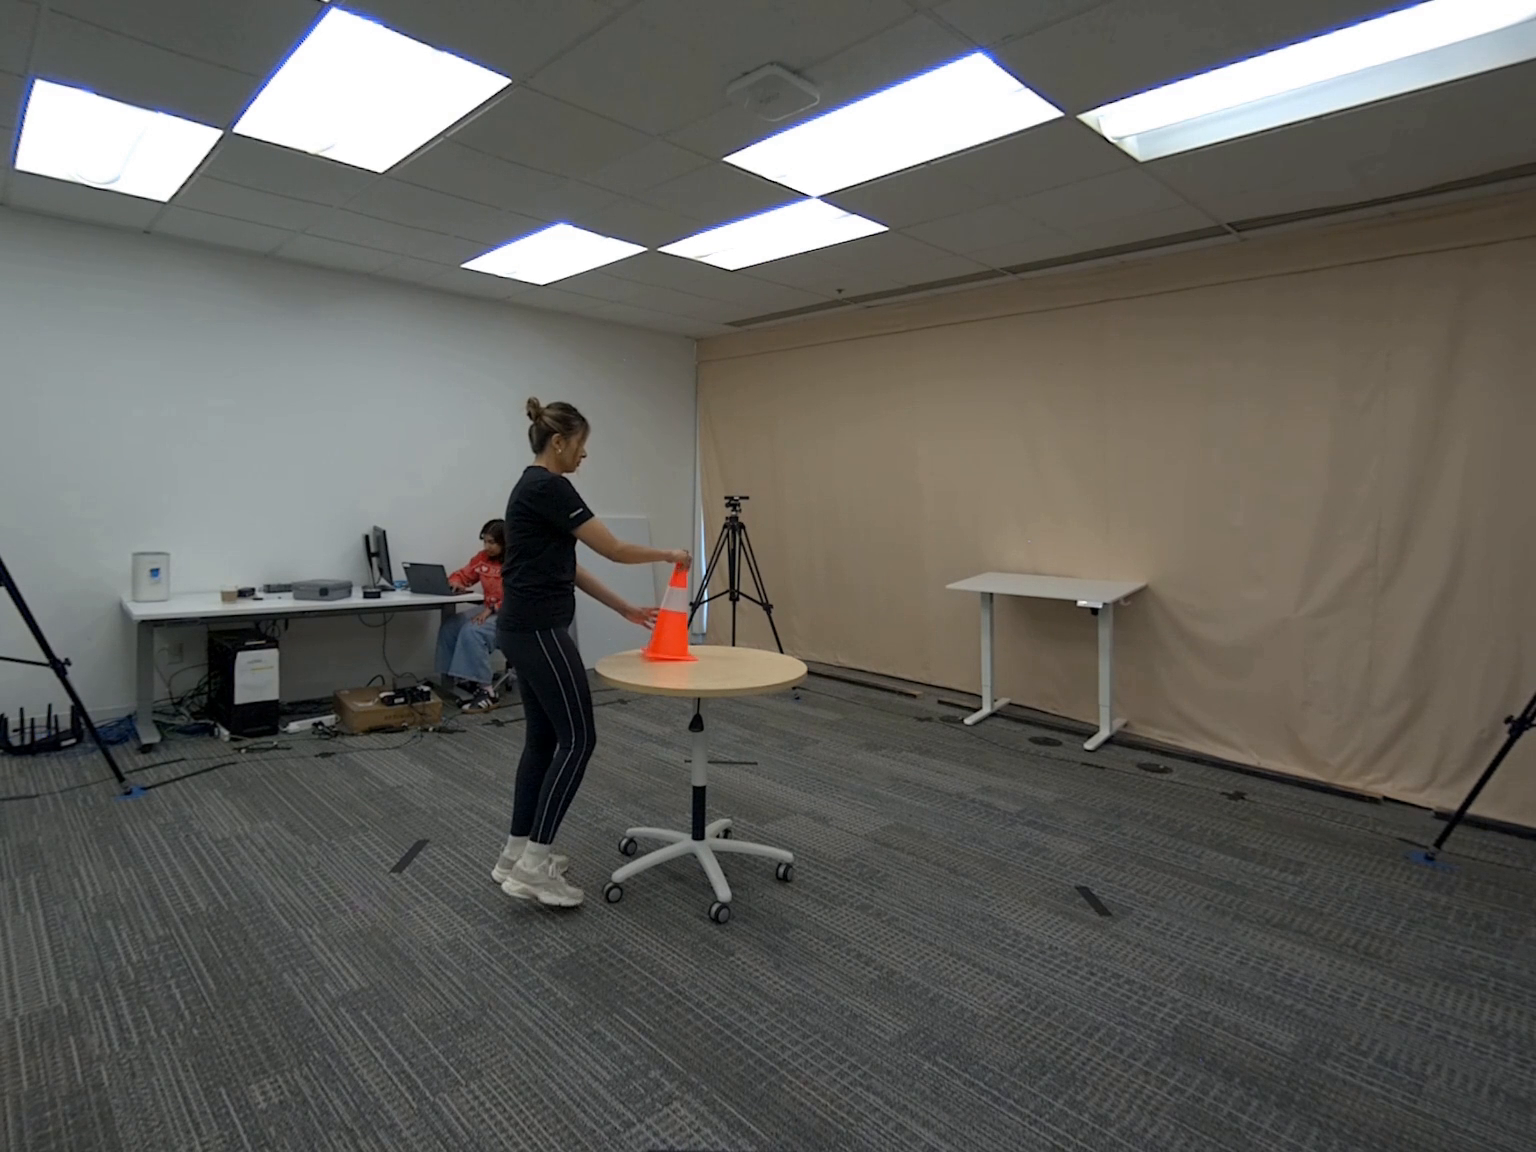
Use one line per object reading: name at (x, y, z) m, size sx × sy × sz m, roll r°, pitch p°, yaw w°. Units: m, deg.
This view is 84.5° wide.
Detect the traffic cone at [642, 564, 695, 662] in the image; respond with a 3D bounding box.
traffic cone at (-0.362, 0.113, 3.173) m, size 0.200 × 0.383 × 0.208 m, roll 5°, pitch 4°, yaw -18°
